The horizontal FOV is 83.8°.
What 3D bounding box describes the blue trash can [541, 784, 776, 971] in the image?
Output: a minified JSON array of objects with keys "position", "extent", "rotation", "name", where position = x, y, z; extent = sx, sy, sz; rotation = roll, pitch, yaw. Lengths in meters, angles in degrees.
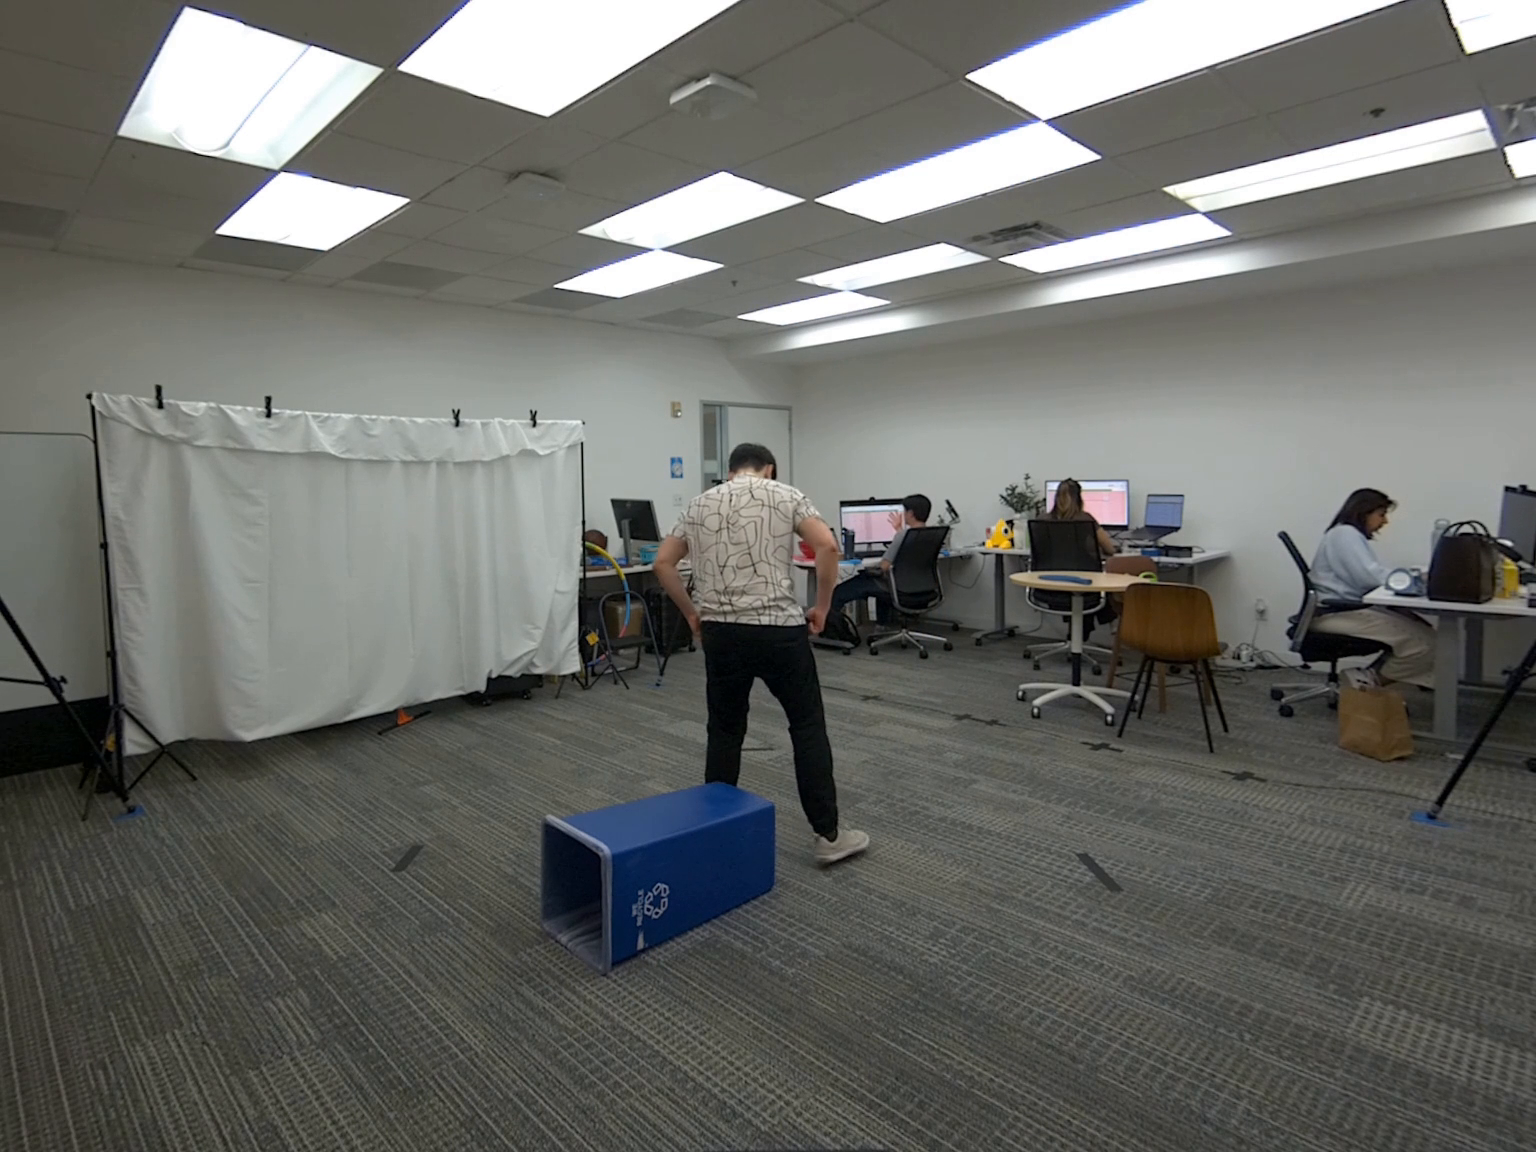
[{"position":[-0.325,0.919,2.775],"extent":[0.694,0.377,0.385],"rotation":[-4,6,-42],"name":"blue trash can"}]
